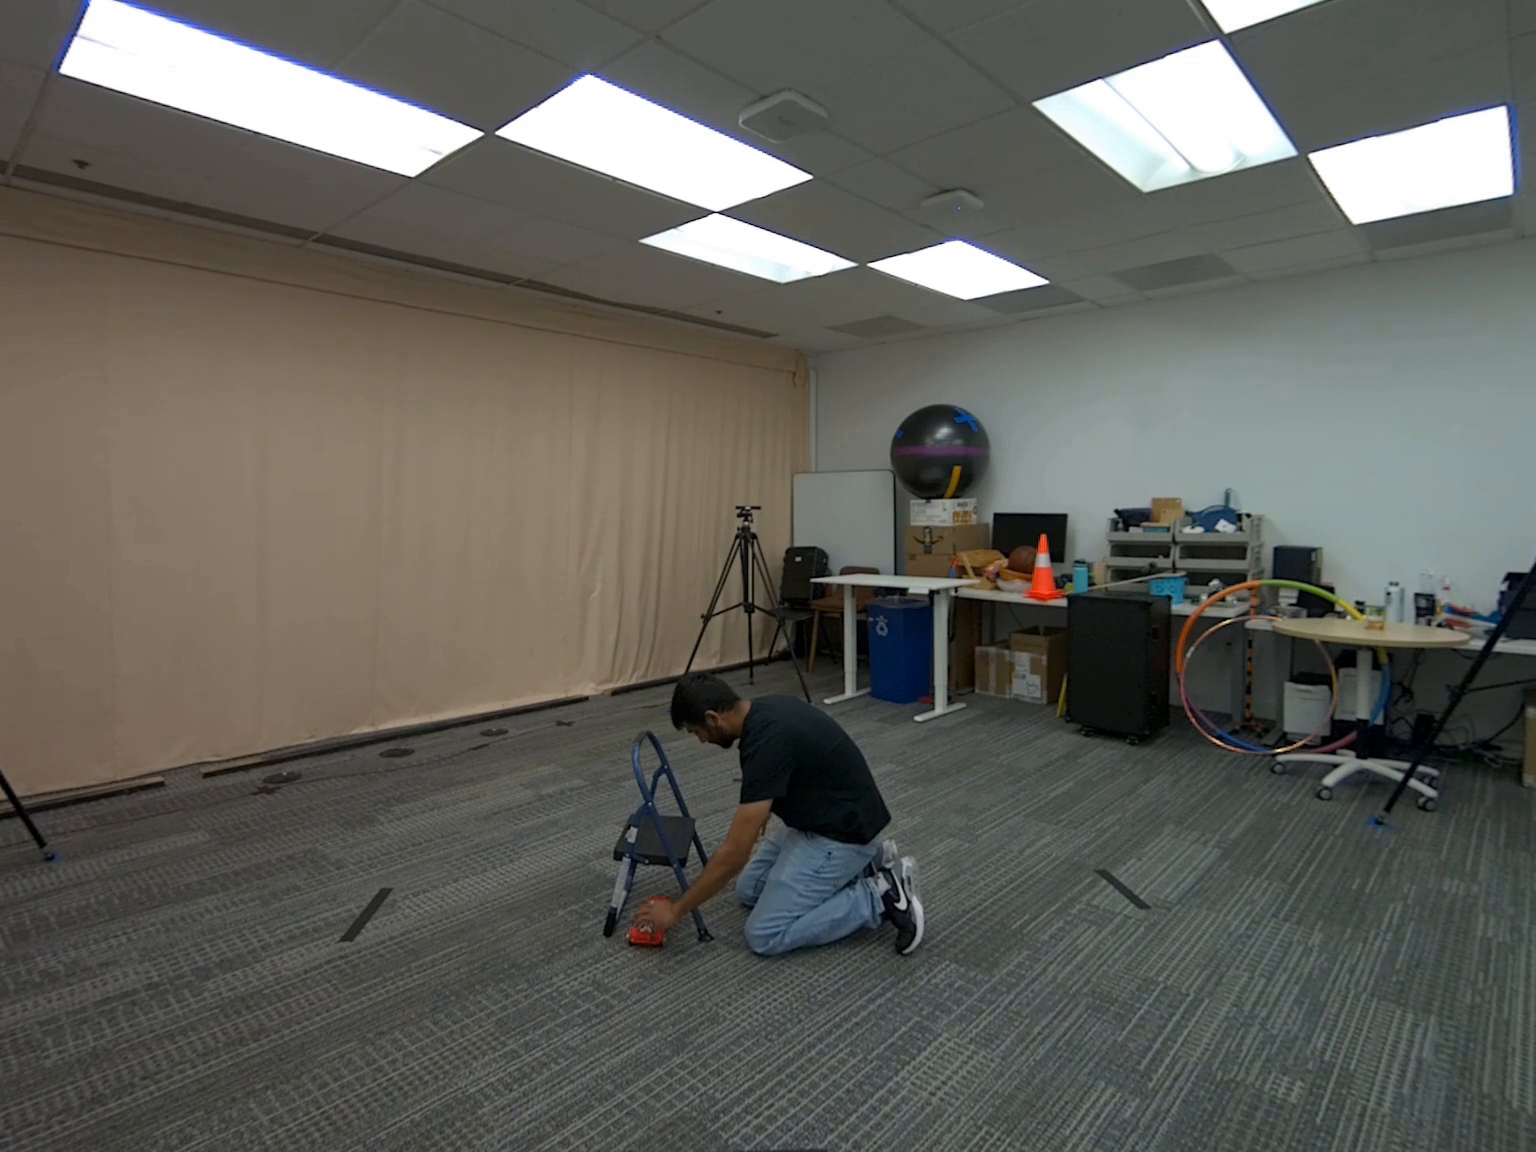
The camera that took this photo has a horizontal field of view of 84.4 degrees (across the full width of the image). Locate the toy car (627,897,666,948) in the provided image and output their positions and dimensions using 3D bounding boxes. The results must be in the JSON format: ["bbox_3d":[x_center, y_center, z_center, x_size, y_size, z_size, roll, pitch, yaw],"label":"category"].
[{"bbox_3d":[-0.367,1.147,2.738,0.131,0.082,0.255,1,18,5],"label":"toy car"}]
